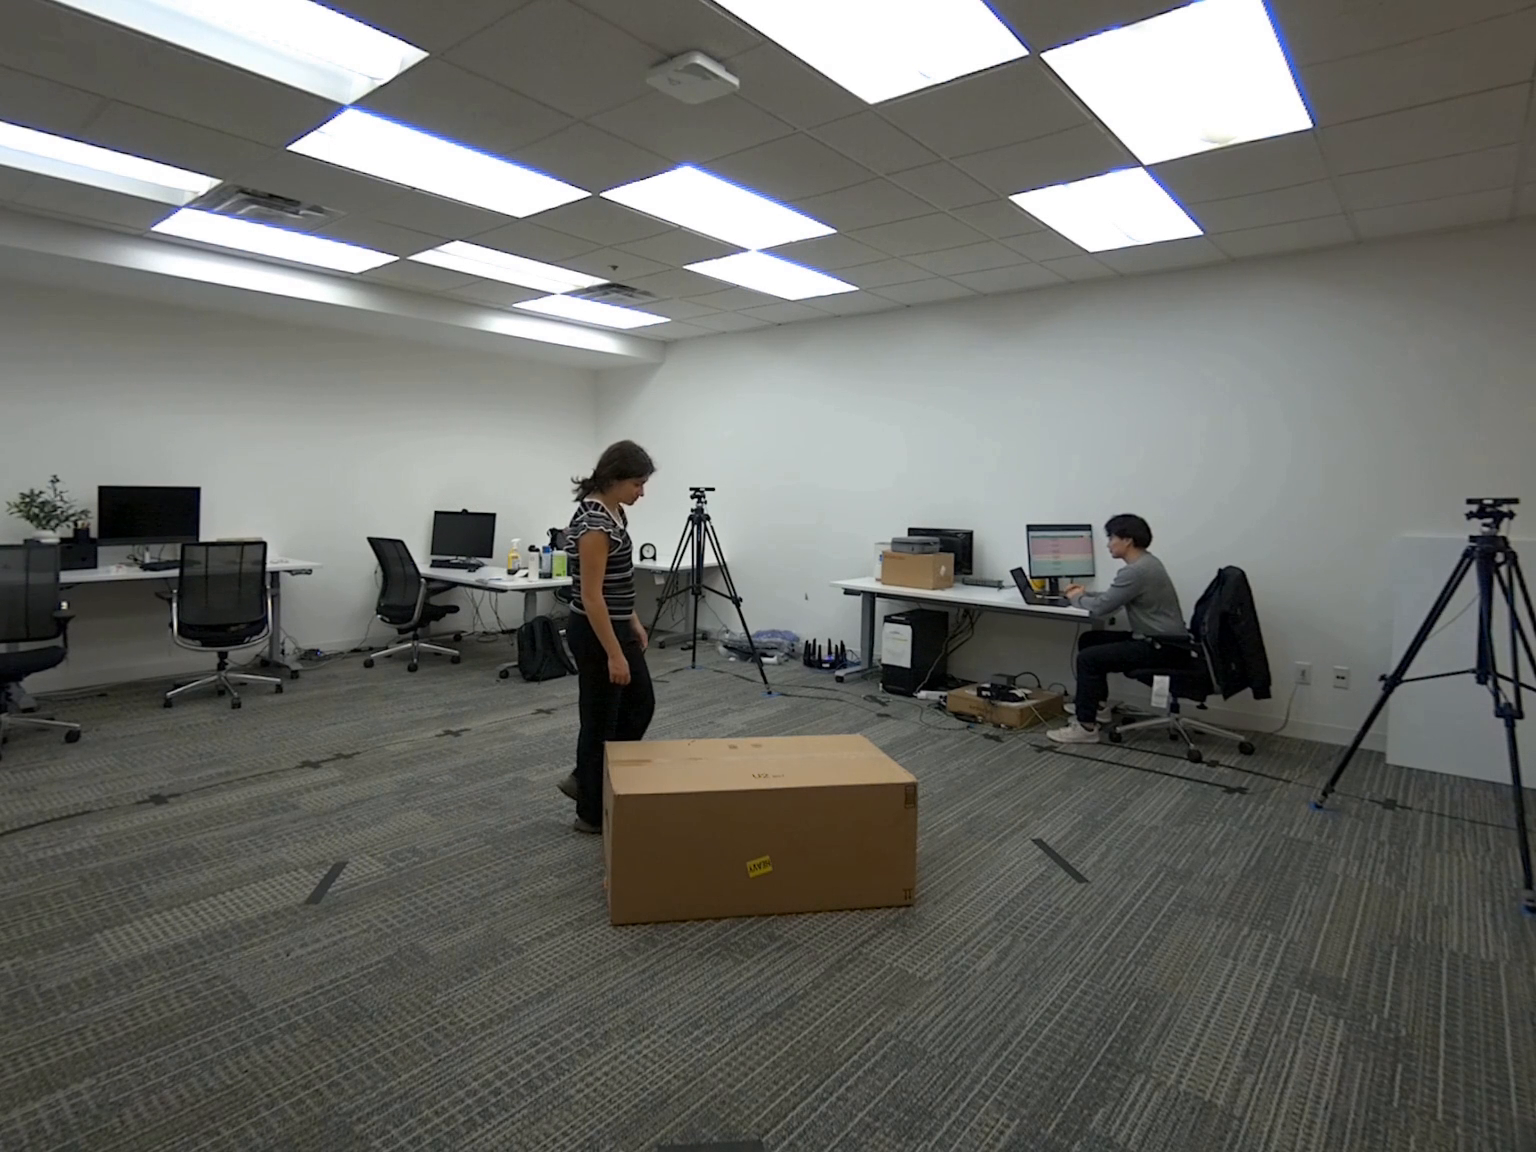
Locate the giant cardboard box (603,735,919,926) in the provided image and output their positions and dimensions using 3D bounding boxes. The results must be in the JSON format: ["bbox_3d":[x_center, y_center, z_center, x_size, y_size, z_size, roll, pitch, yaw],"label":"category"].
[{"bbox_3d":[-0.068,0.864,3.037,1.014,0.425,0.586,0,4,-11],"label":"giant cardboard box"}]
